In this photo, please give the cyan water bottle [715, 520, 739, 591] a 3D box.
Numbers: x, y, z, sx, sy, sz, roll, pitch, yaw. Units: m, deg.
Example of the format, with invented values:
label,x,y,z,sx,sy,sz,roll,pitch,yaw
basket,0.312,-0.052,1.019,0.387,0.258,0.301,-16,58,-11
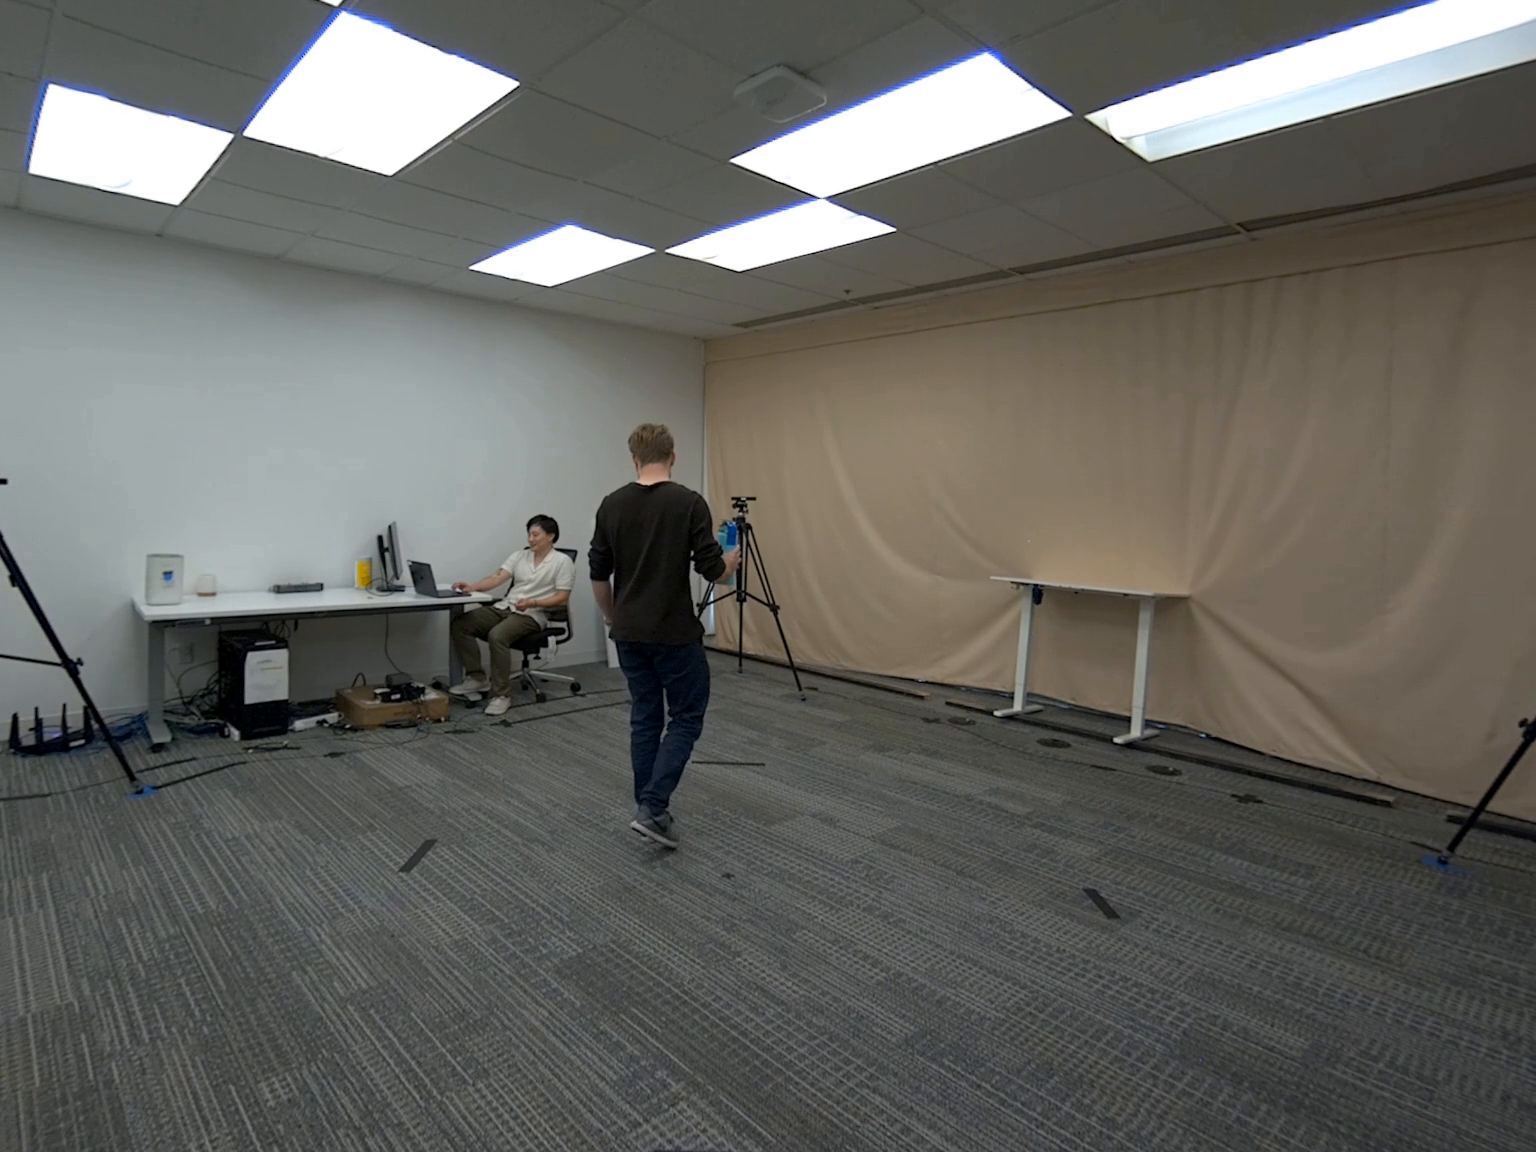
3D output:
label,x,y,z,sx,sy,sz,roll,pitch,yaw
cyan water bottle,-0.190,-0.105,3.666,0.092,0.282,0.093,4,4,-2
